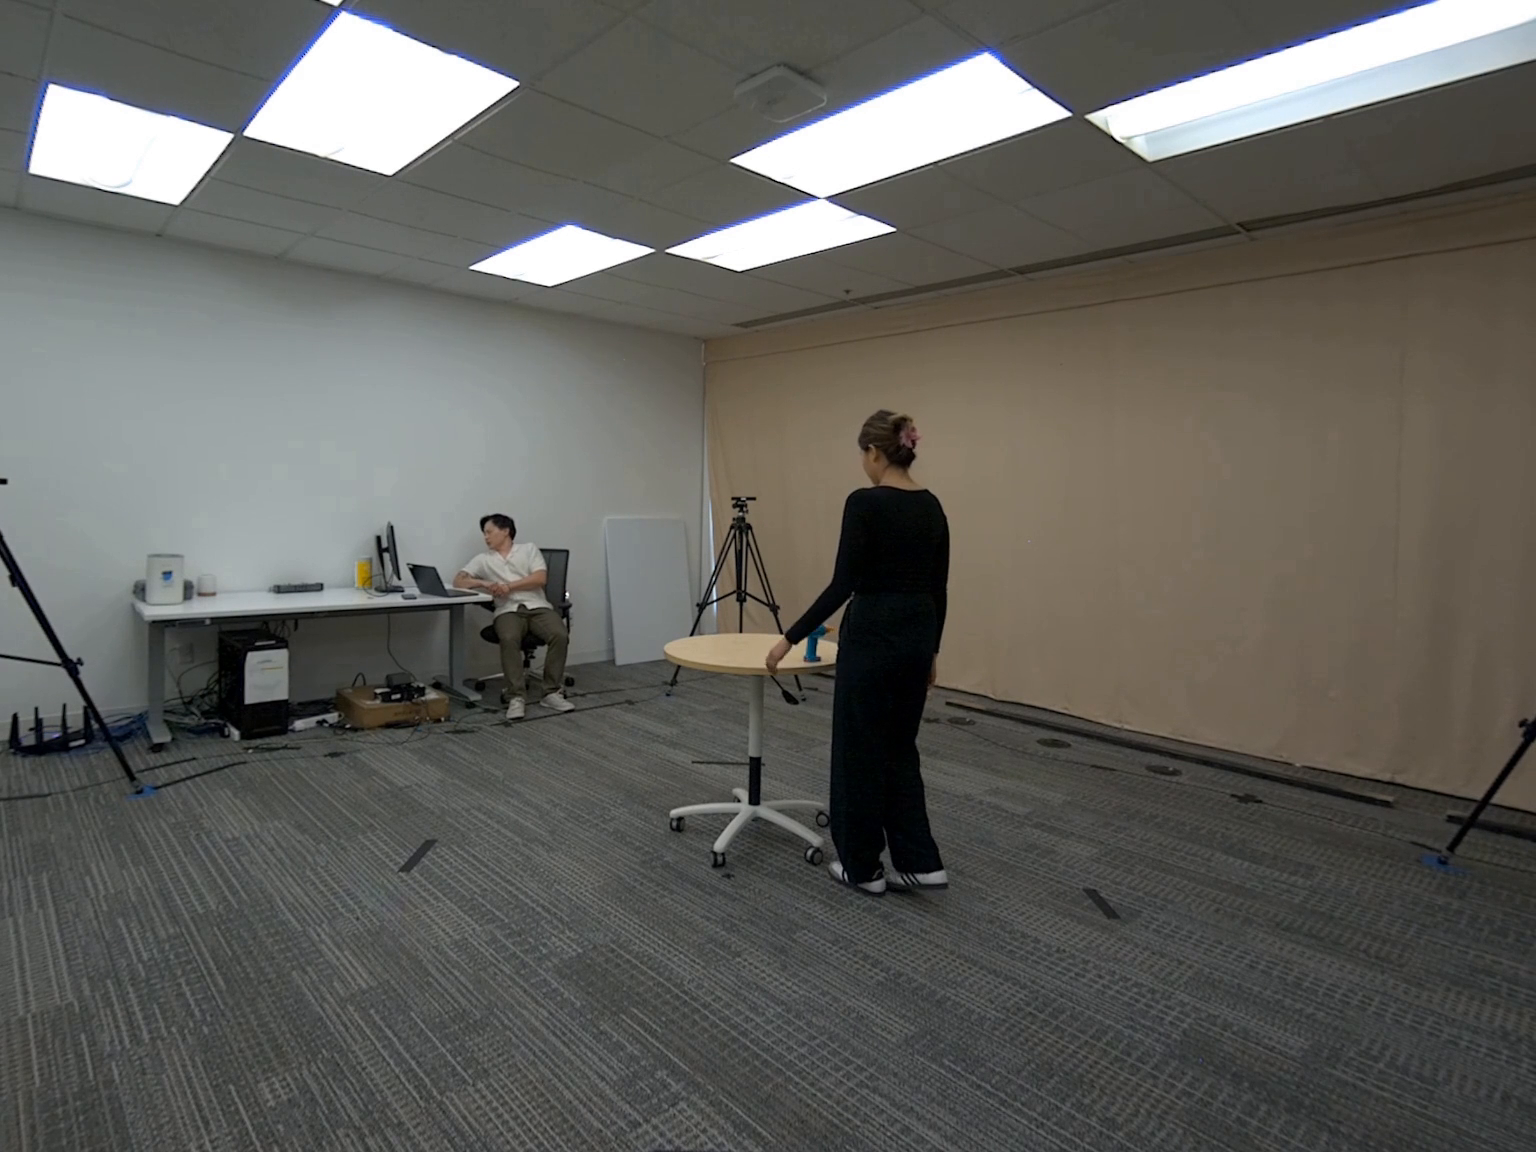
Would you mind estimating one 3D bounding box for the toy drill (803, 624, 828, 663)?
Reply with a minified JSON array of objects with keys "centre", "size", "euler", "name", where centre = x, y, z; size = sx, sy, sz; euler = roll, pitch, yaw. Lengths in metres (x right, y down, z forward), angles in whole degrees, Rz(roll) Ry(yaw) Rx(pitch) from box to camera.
[{"centre":[0.191,0.249,3.222],"size":[0.062,0.145,0.166],"euler":[3,5,39],"name":"toy drill"}]
